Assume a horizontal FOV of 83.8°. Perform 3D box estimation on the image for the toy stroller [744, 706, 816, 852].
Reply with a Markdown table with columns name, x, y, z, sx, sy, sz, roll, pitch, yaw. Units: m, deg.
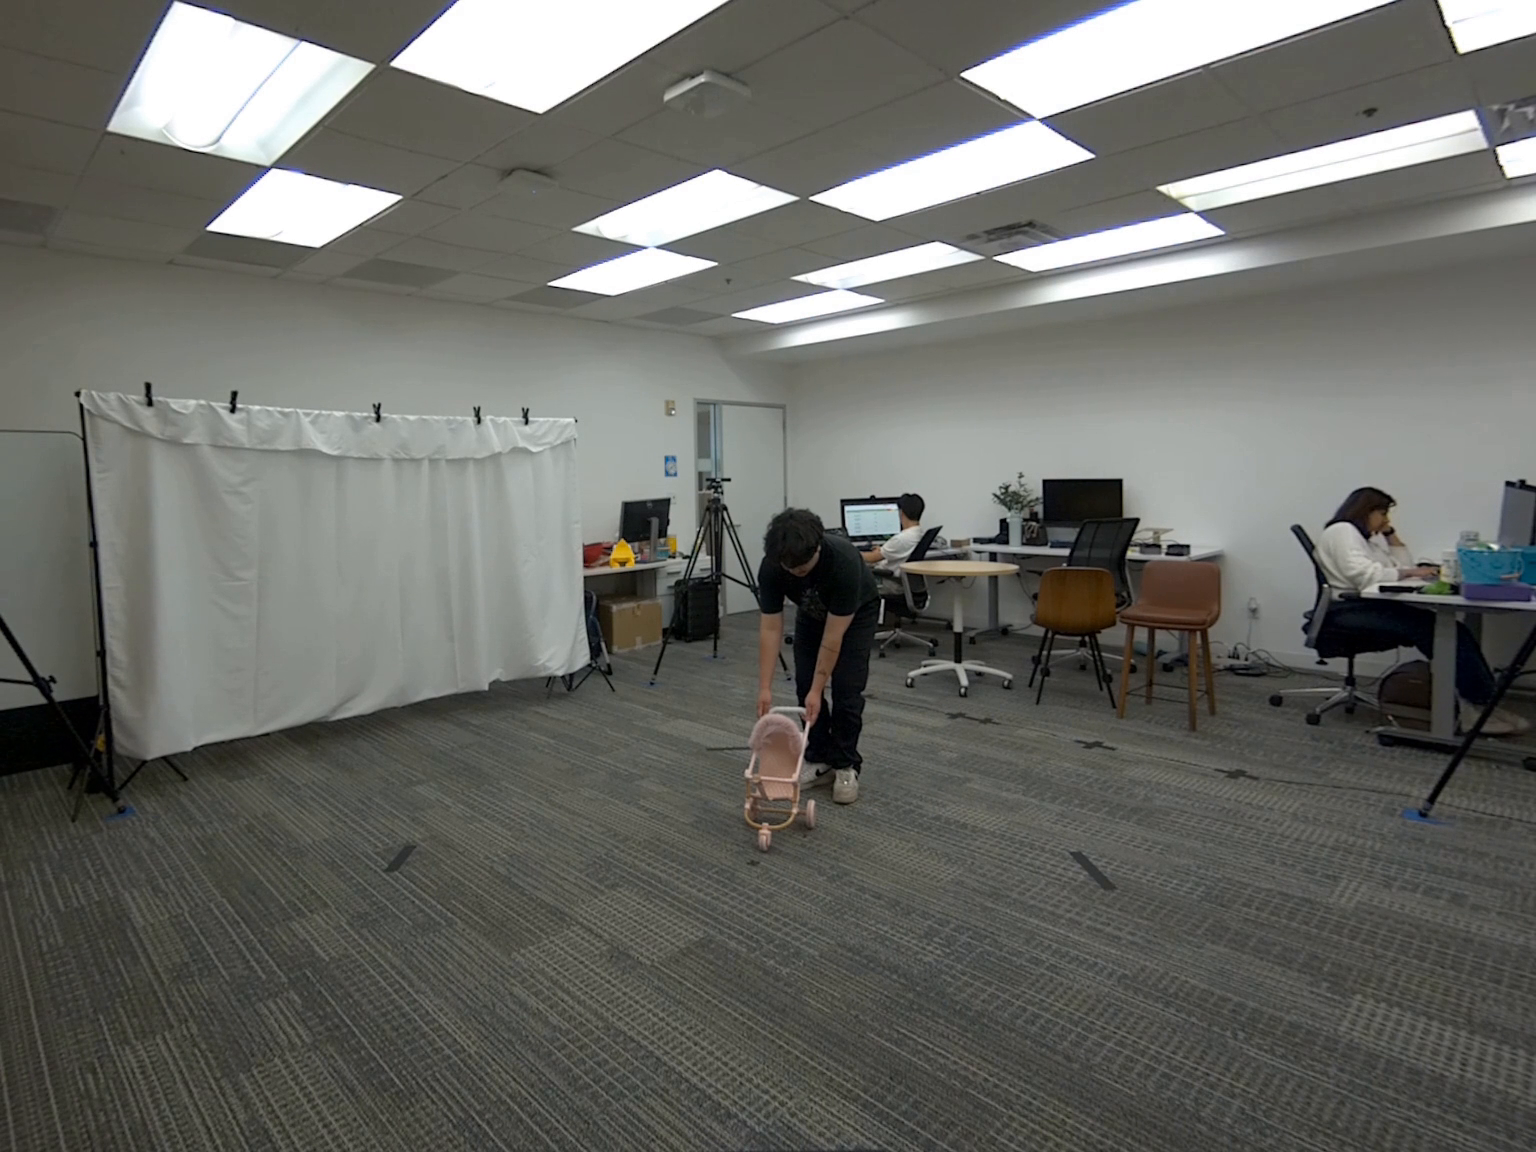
| name | x | y | z | sx | sy | sz | roll | pitch | yaw |
| --- | --- | --- | --- | --- | --- | --- | --- | --- | --- |
| toy stroller | 0.030 | 0.785 | 3.377 | 0.287 | 0.540 | 0.332 | 0 | -11 | 20 |
